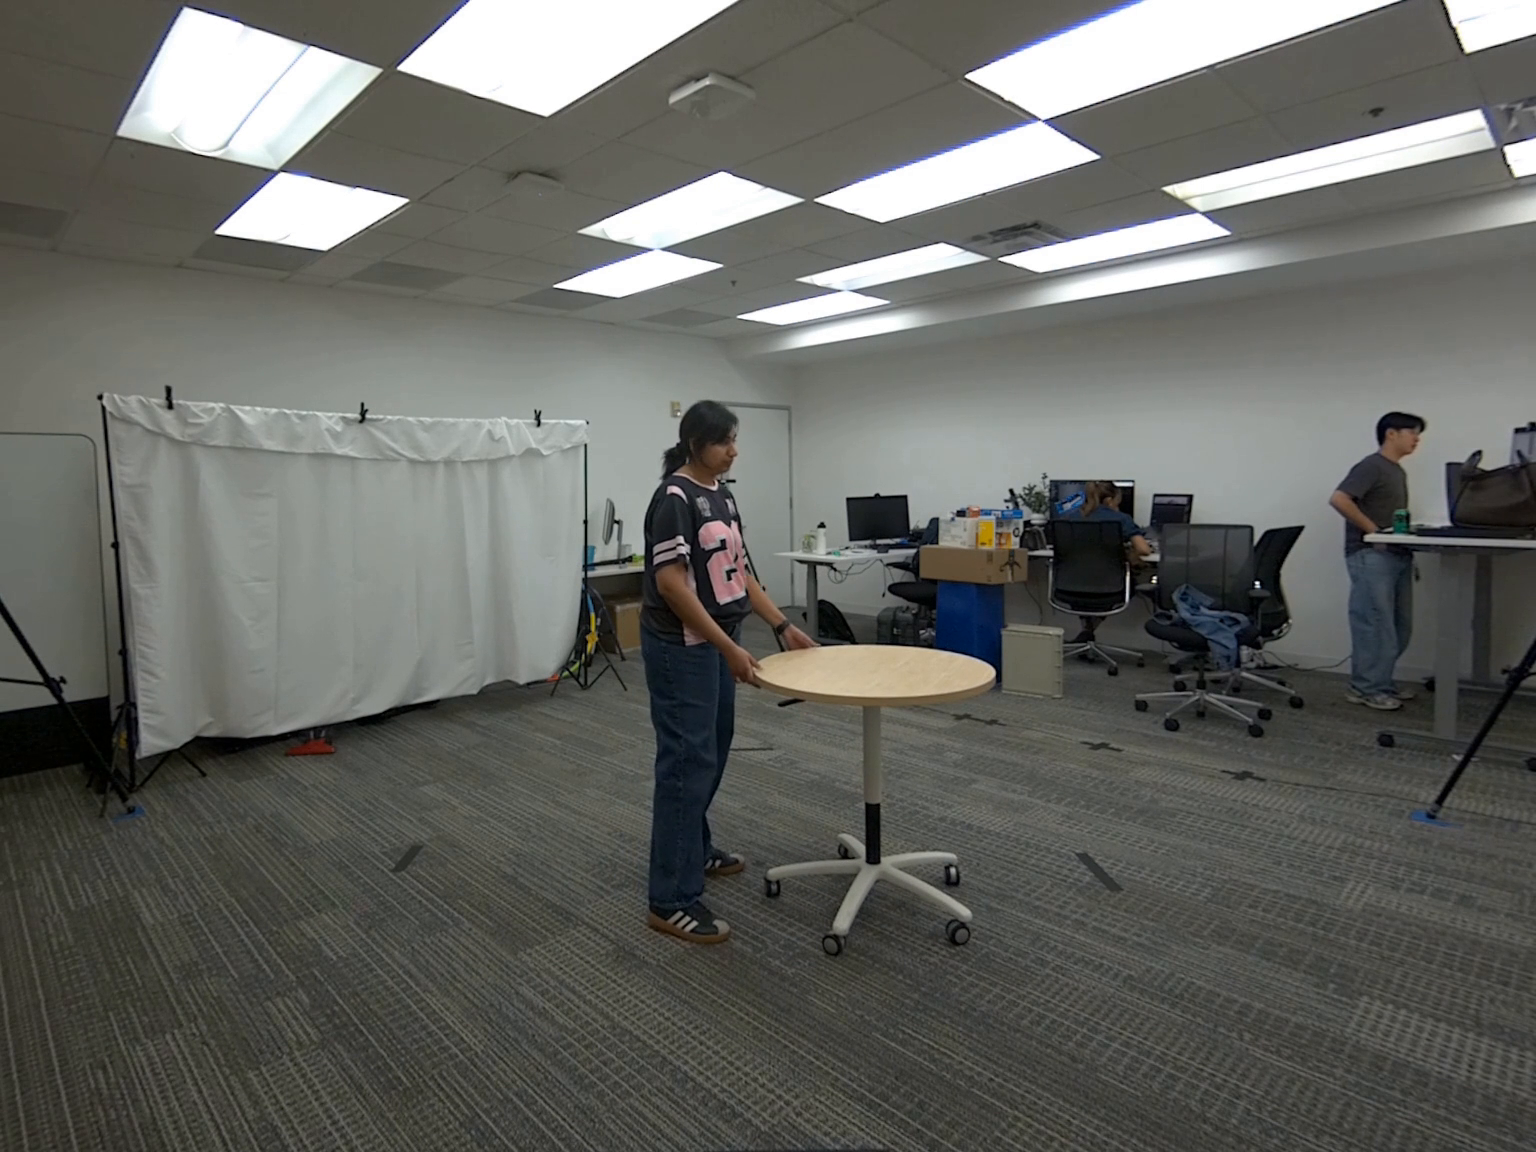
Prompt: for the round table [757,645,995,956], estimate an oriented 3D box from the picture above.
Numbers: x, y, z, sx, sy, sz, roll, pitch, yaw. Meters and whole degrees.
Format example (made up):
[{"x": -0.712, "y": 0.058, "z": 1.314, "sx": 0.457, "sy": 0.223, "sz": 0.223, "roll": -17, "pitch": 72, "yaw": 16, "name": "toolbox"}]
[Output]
[{"x": 0.341, "y": 0.688, "z": 2.773, "sx": 0.763, "sy": 0.791, "sz": 0.768, "roll": -1, "pitch": 5, "yaw": -2, "name": "round table"}]
